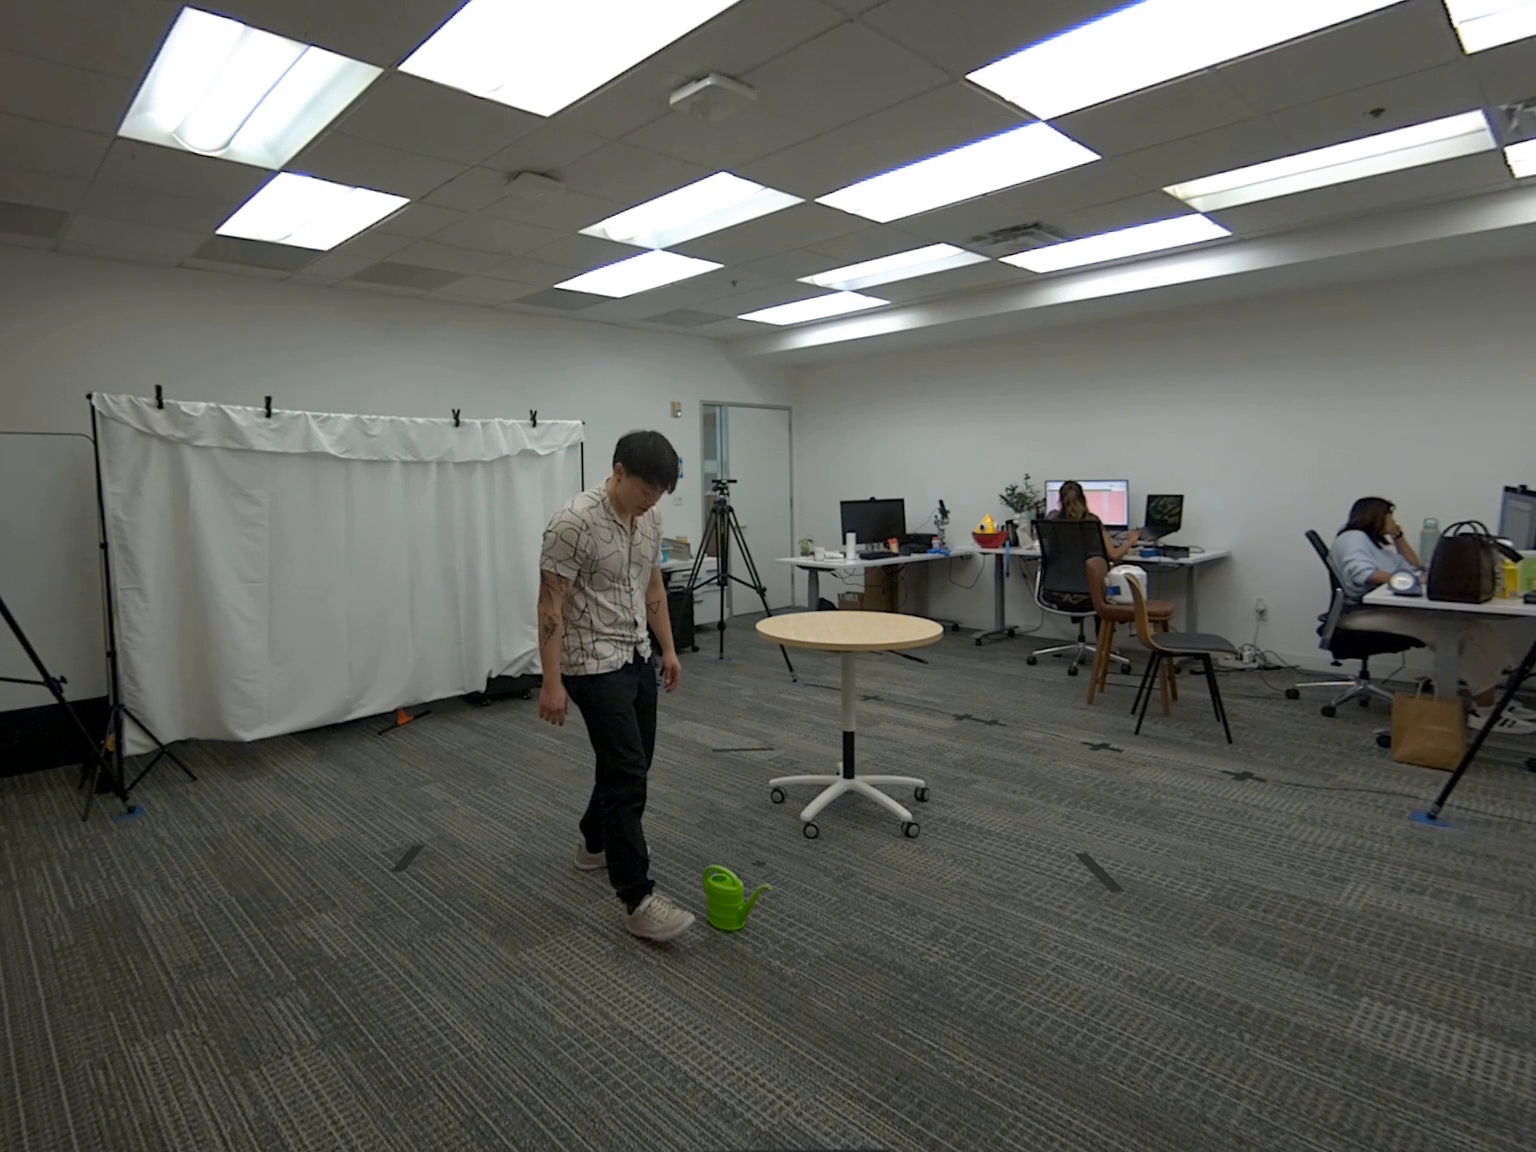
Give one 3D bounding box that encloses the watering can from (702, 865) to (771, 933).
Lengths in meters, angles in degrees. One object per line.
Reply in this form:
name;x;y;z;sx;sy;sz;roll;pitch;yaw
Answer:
watering can;-0.107;1.009;2.653;0.095;0.176;0.286;-7;7;-36
